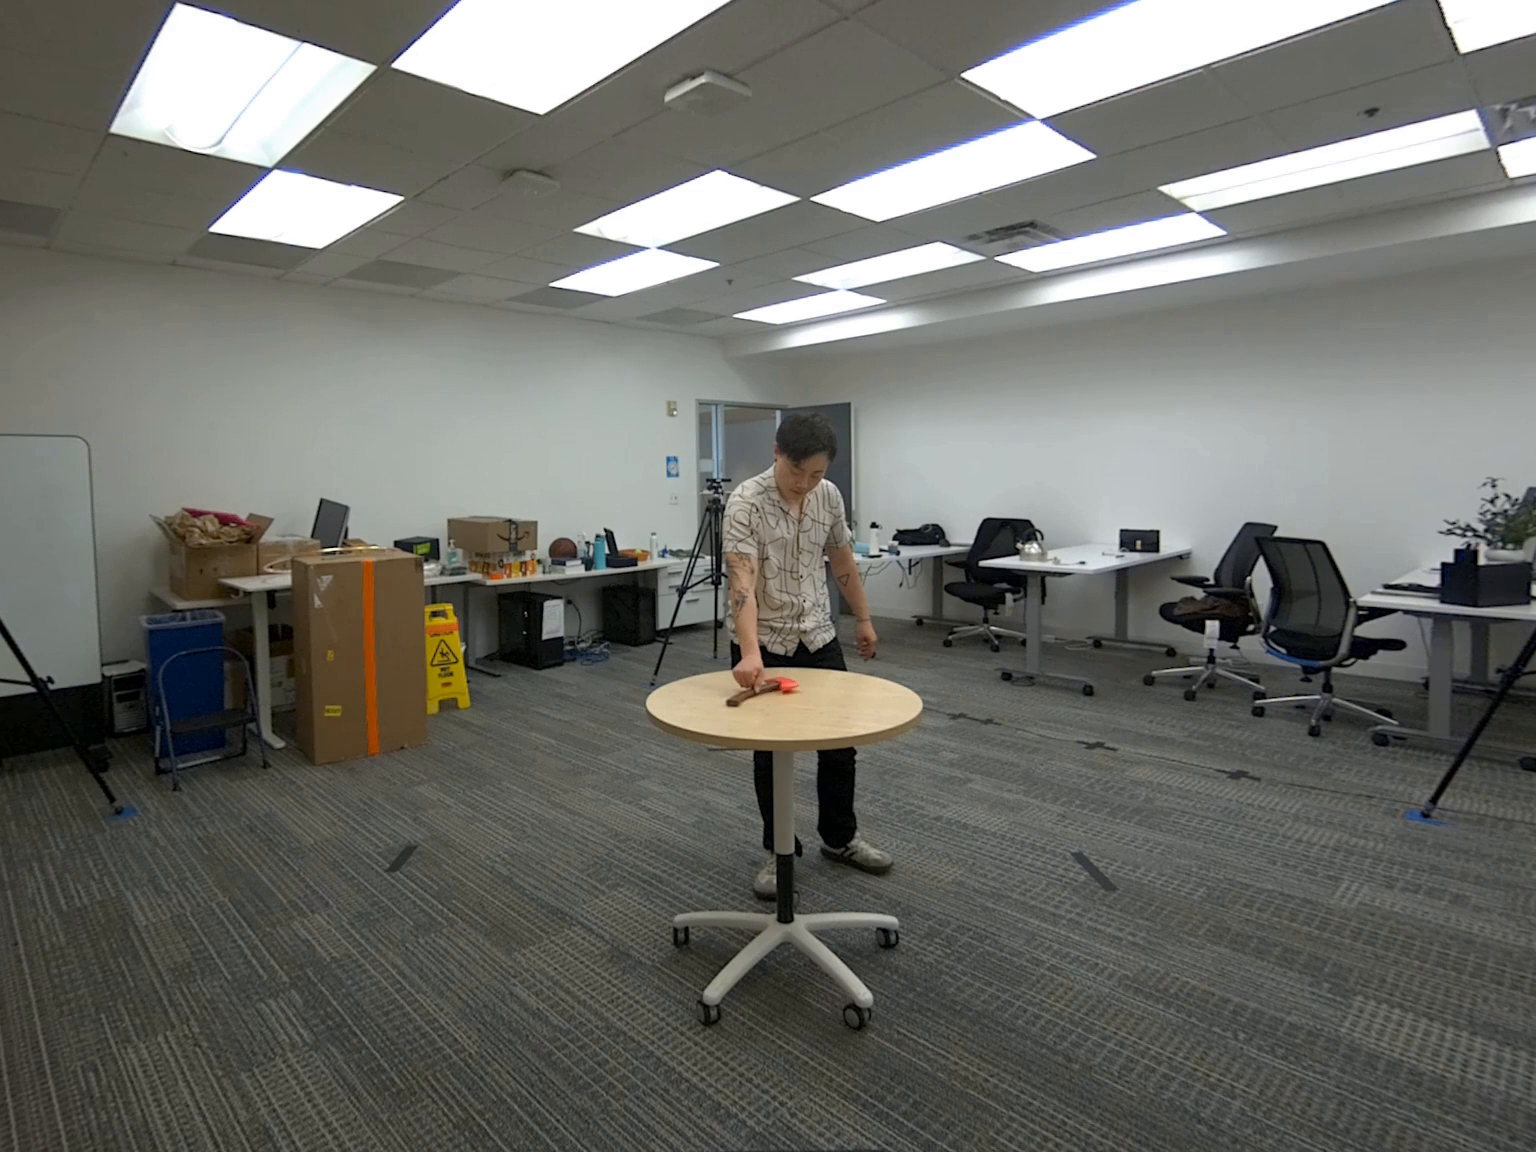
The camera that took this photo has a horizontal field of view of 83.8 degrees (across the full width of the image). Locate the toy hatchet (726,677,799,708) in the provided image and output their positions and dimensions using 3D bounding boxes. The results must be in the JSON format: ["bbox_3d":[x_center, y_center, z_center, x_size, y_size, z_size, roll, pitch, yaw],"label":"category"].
[{"bbox_3d":[-0.002,0.331,2.411,0.134,0.029,0.266,-3,6,22],"label":"toy hatchet"}]
